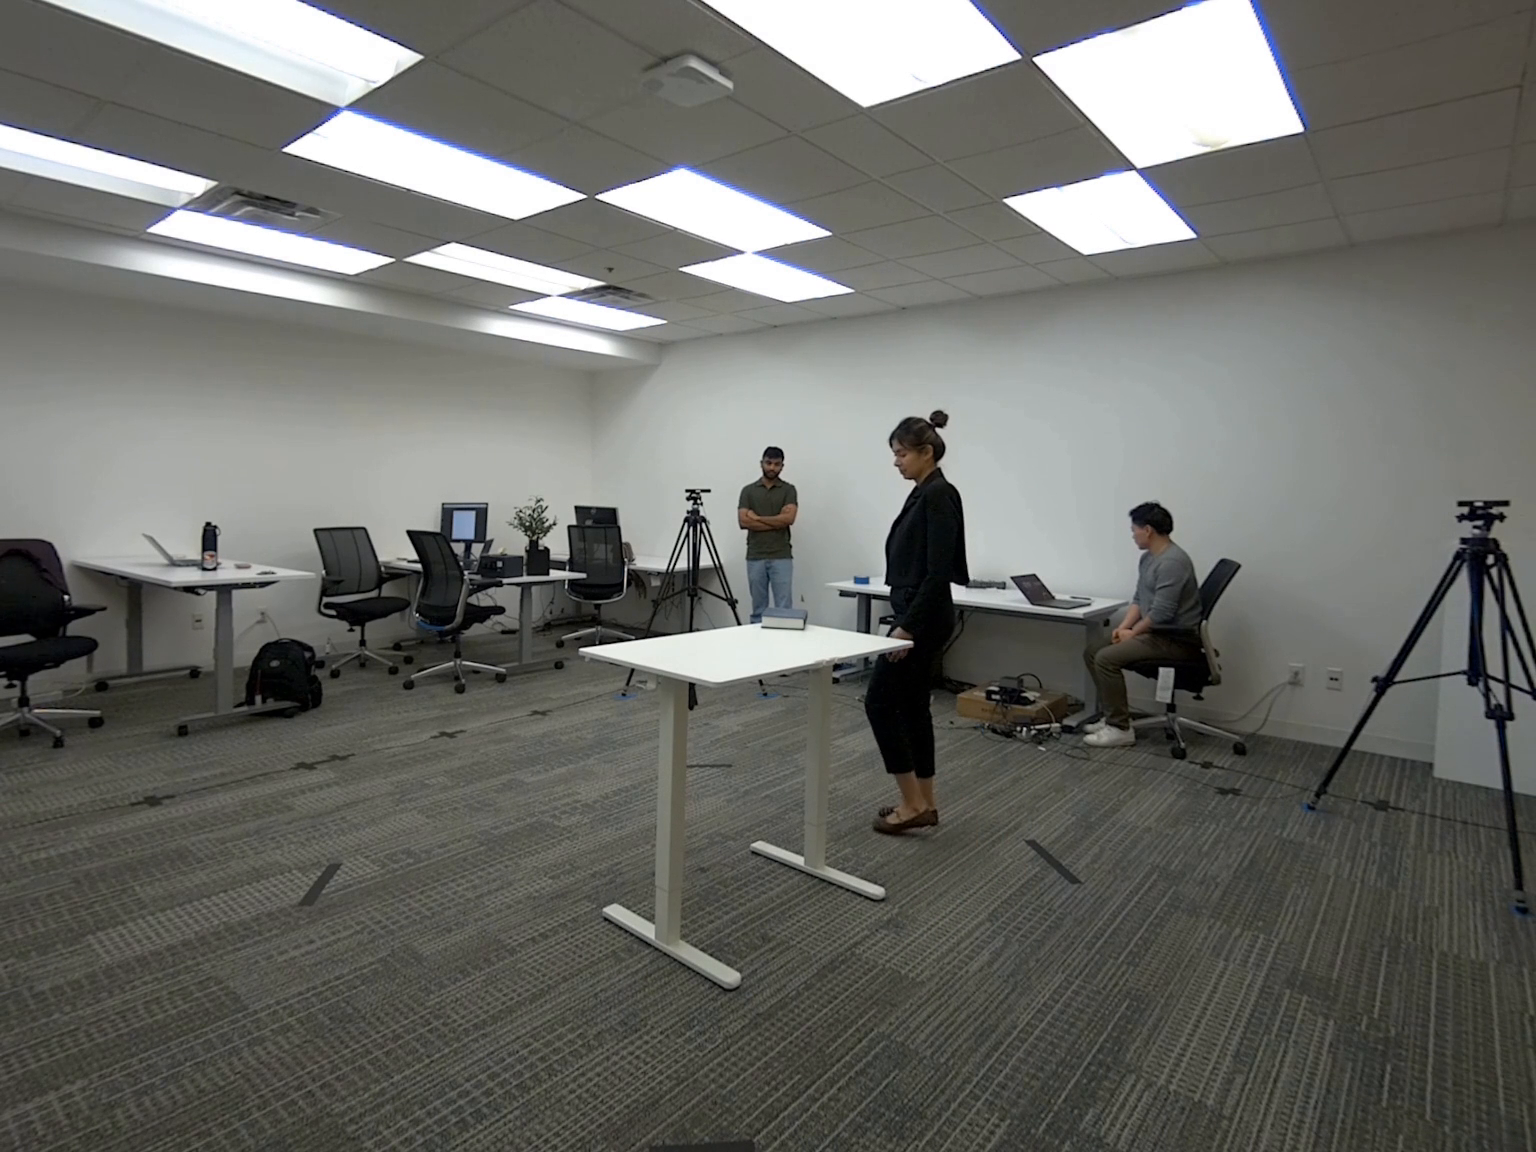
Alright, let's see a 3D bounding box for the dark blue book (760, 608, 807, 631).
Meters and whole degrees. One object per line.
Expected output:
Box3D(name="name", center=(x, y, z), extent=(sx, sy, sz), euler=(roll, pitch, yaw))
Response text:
Box3D(name="dark blue book", center=(0.060, 0.157, 3.268), extent=(0.165, 0.045, 0.244), euler=(3, 6, 6))
